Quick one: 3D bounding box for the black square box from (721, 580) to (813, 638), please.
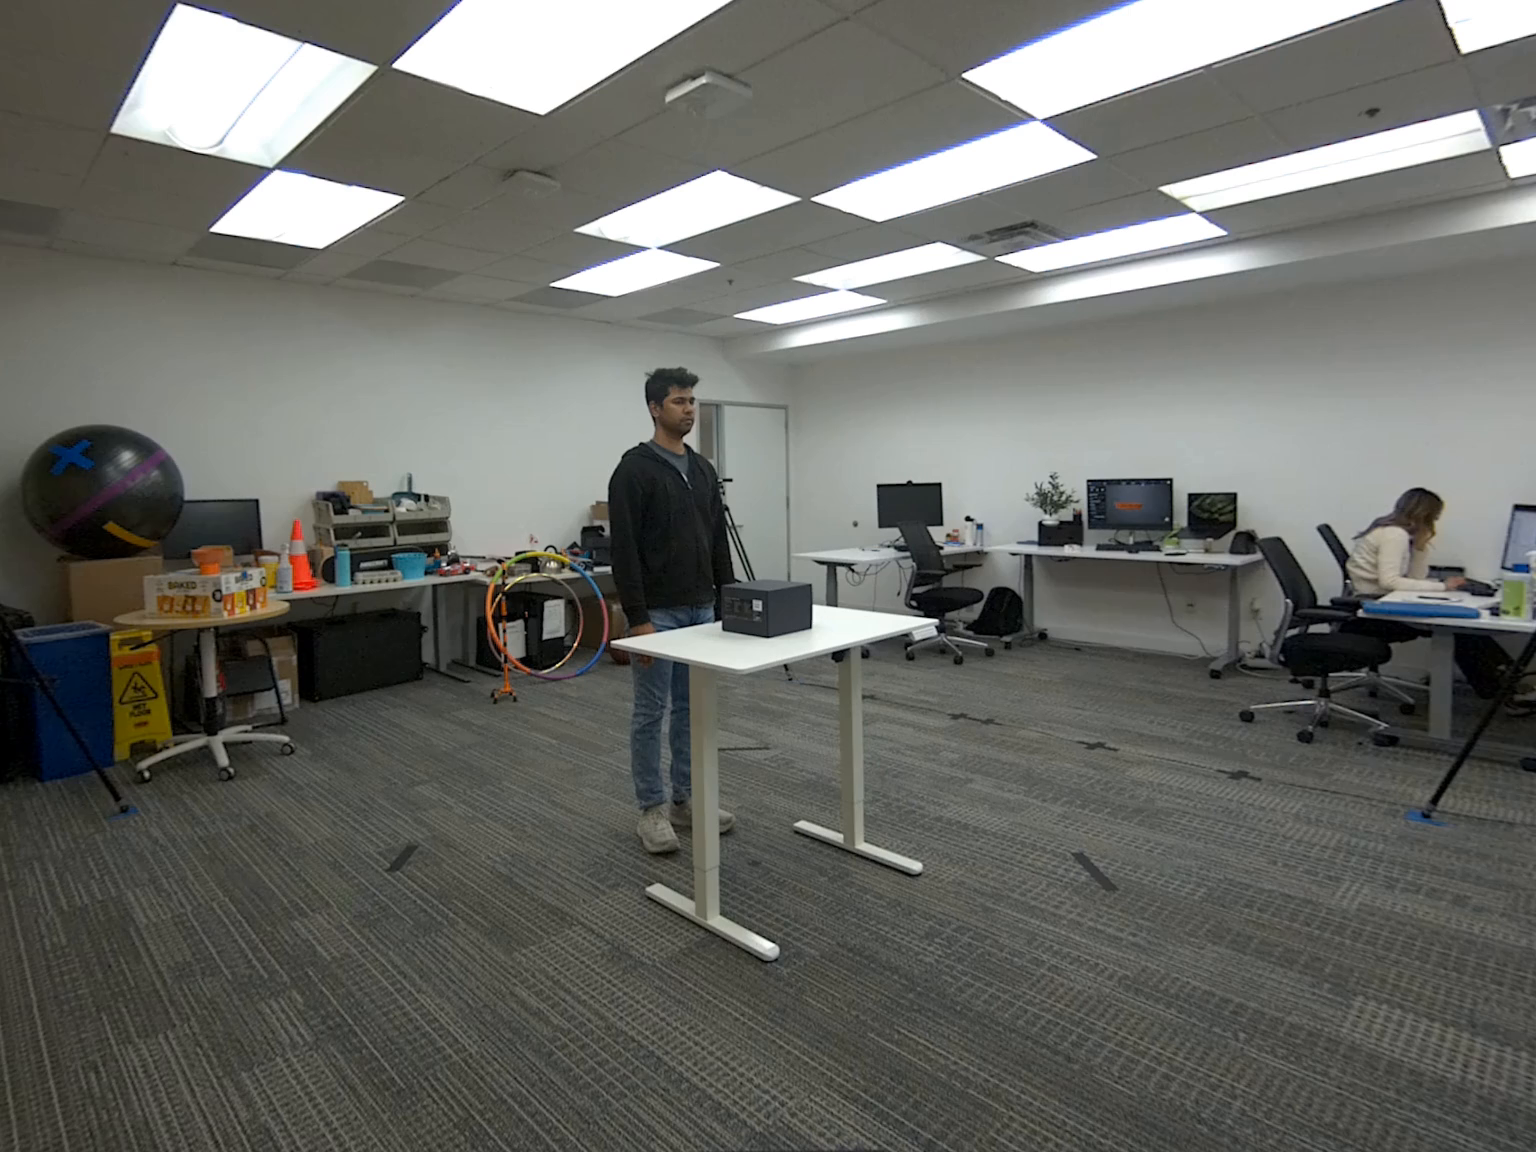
[{"bbox_3d":[-0.001,0.105,2.902,0.223,0.155,0.222,3,8,43],"label":"black square box"}]
